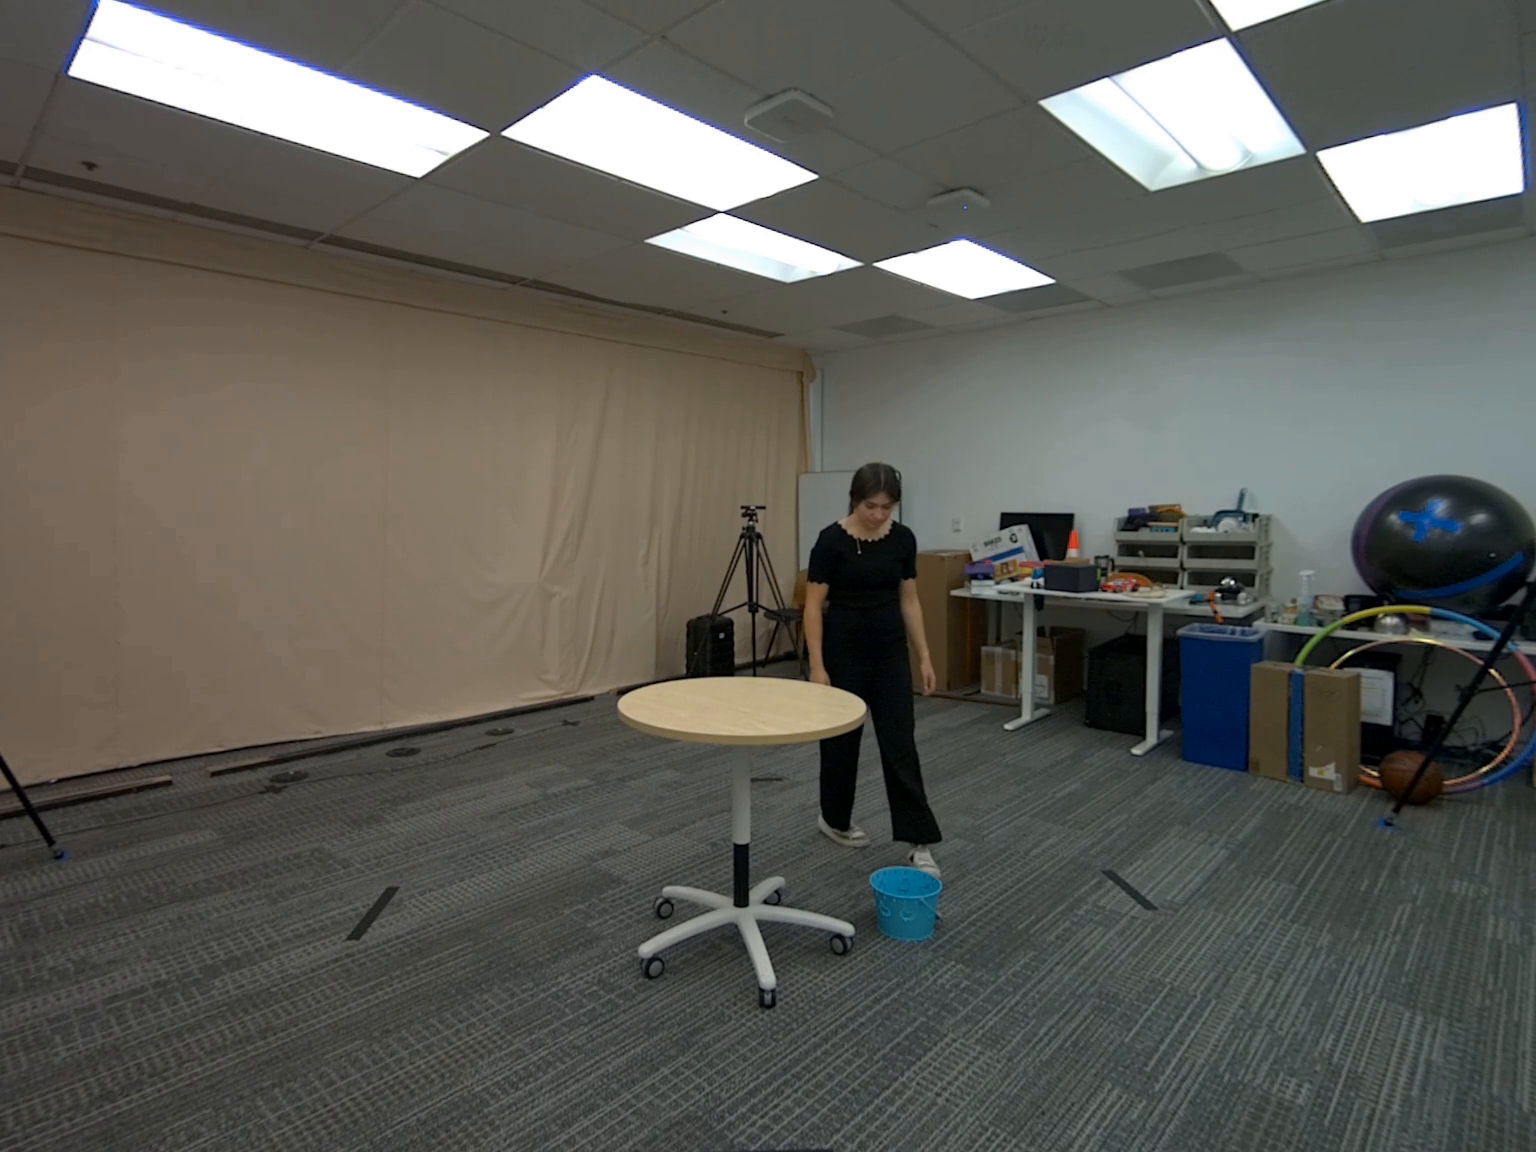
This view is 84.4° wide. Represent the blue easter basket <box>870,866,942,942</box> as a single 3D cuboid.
[{"bbox_3d":[0.442,1.075,2.779,0.243,0.155,0.244,0,4,-2],"label":"blue easter basket"}]
